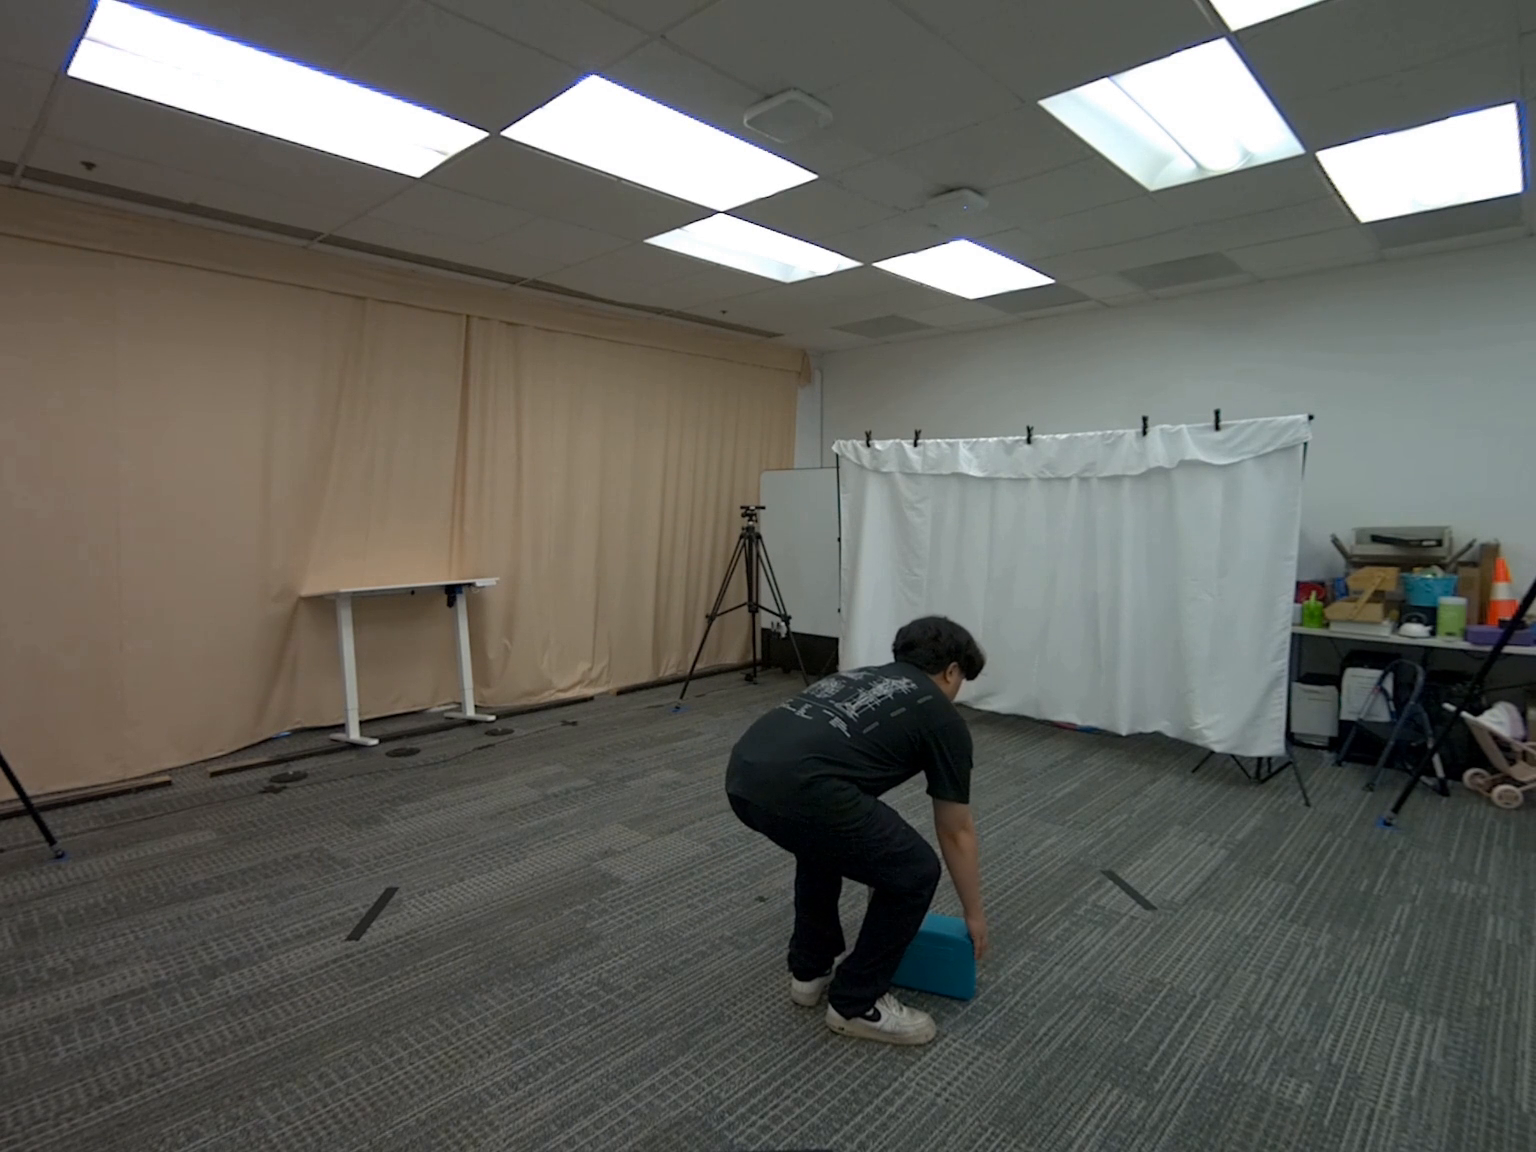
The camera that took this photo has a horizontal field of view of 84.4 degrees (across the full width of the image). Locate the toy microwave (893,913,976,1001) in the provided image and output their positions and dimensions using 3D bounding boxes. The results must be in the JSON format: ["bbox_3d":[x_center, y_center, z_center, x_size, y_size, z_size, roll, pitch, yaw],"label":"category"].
[{"bbox_3d":[0.467,1.086,2.454,0.292,0.183,0.149,1,7,21],"label":"toy microwave"}]
